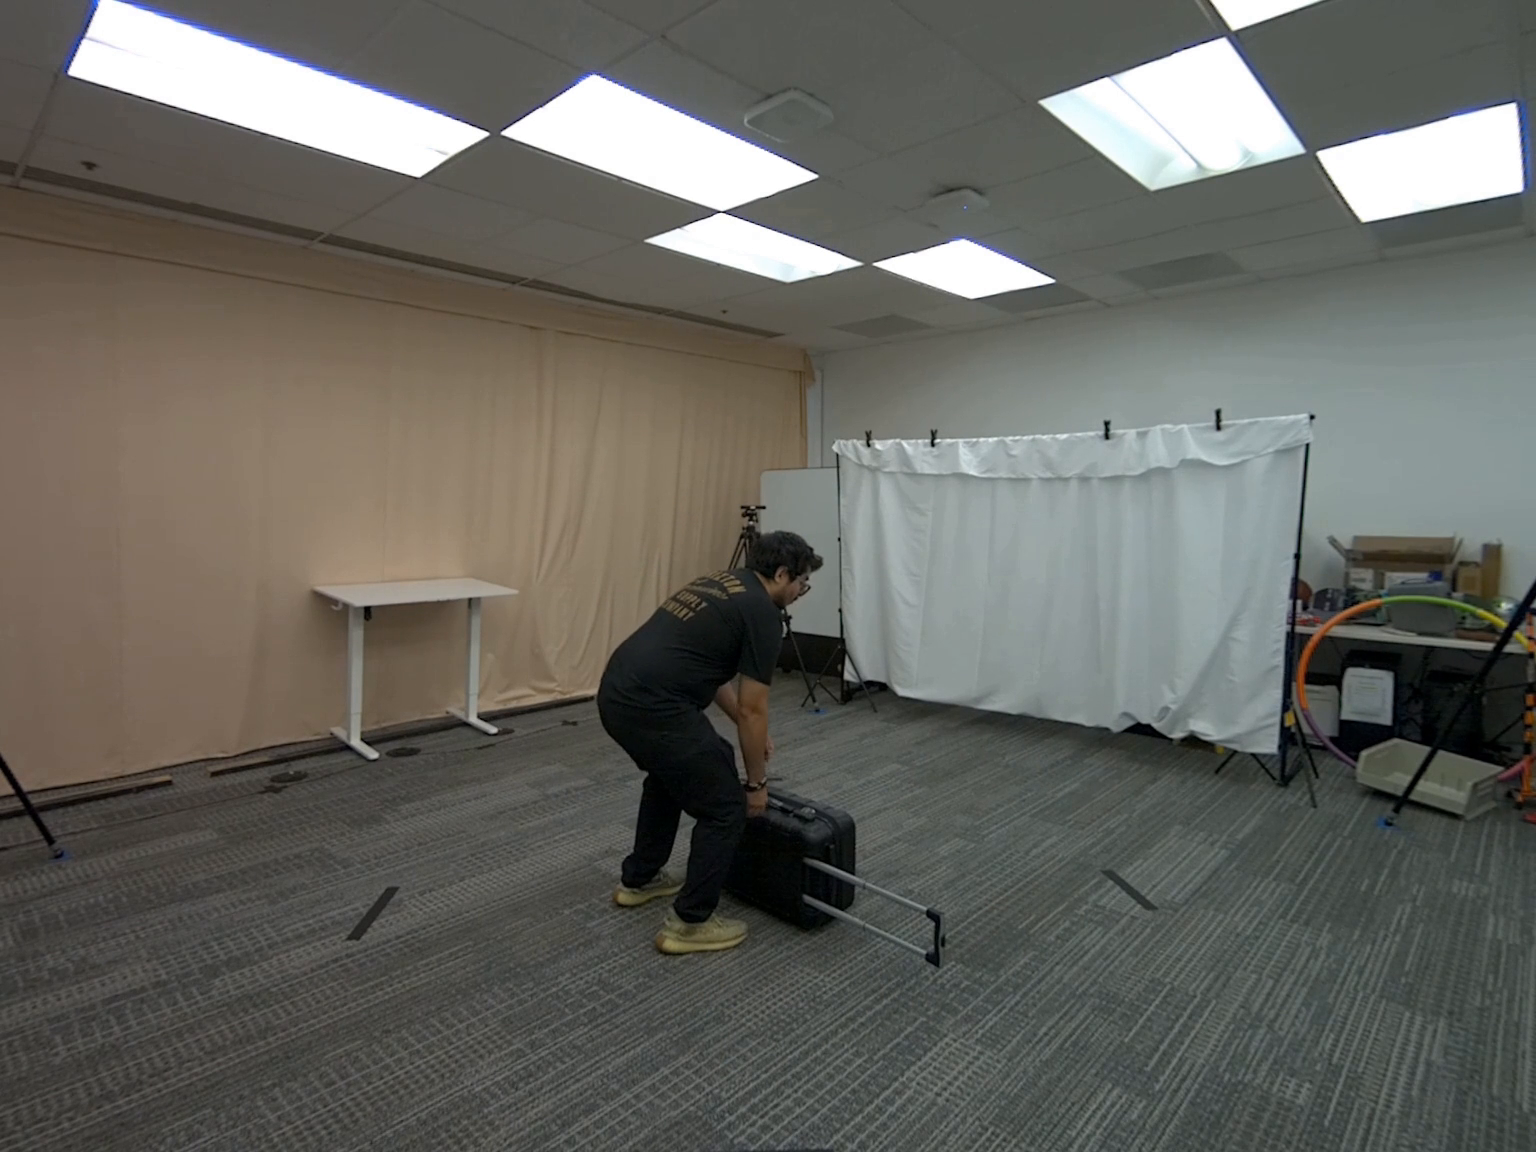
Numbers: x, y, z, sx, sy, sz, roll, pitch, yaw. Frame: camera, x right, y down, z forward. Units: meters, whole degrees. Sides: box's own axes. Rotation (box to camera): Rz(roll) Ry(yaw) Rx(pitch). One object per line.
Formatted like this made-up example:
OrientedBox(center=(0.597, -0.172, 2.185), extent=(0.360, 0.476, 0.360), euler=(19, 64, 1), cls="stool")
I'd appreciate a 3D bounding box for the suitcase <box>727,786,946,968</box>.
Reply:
OrientedBox(center=(0.203, 0.975, 2.799), extent=(1.012, 0.383, 0.249), euler=(5, 5, 44), cls="suitcase")
